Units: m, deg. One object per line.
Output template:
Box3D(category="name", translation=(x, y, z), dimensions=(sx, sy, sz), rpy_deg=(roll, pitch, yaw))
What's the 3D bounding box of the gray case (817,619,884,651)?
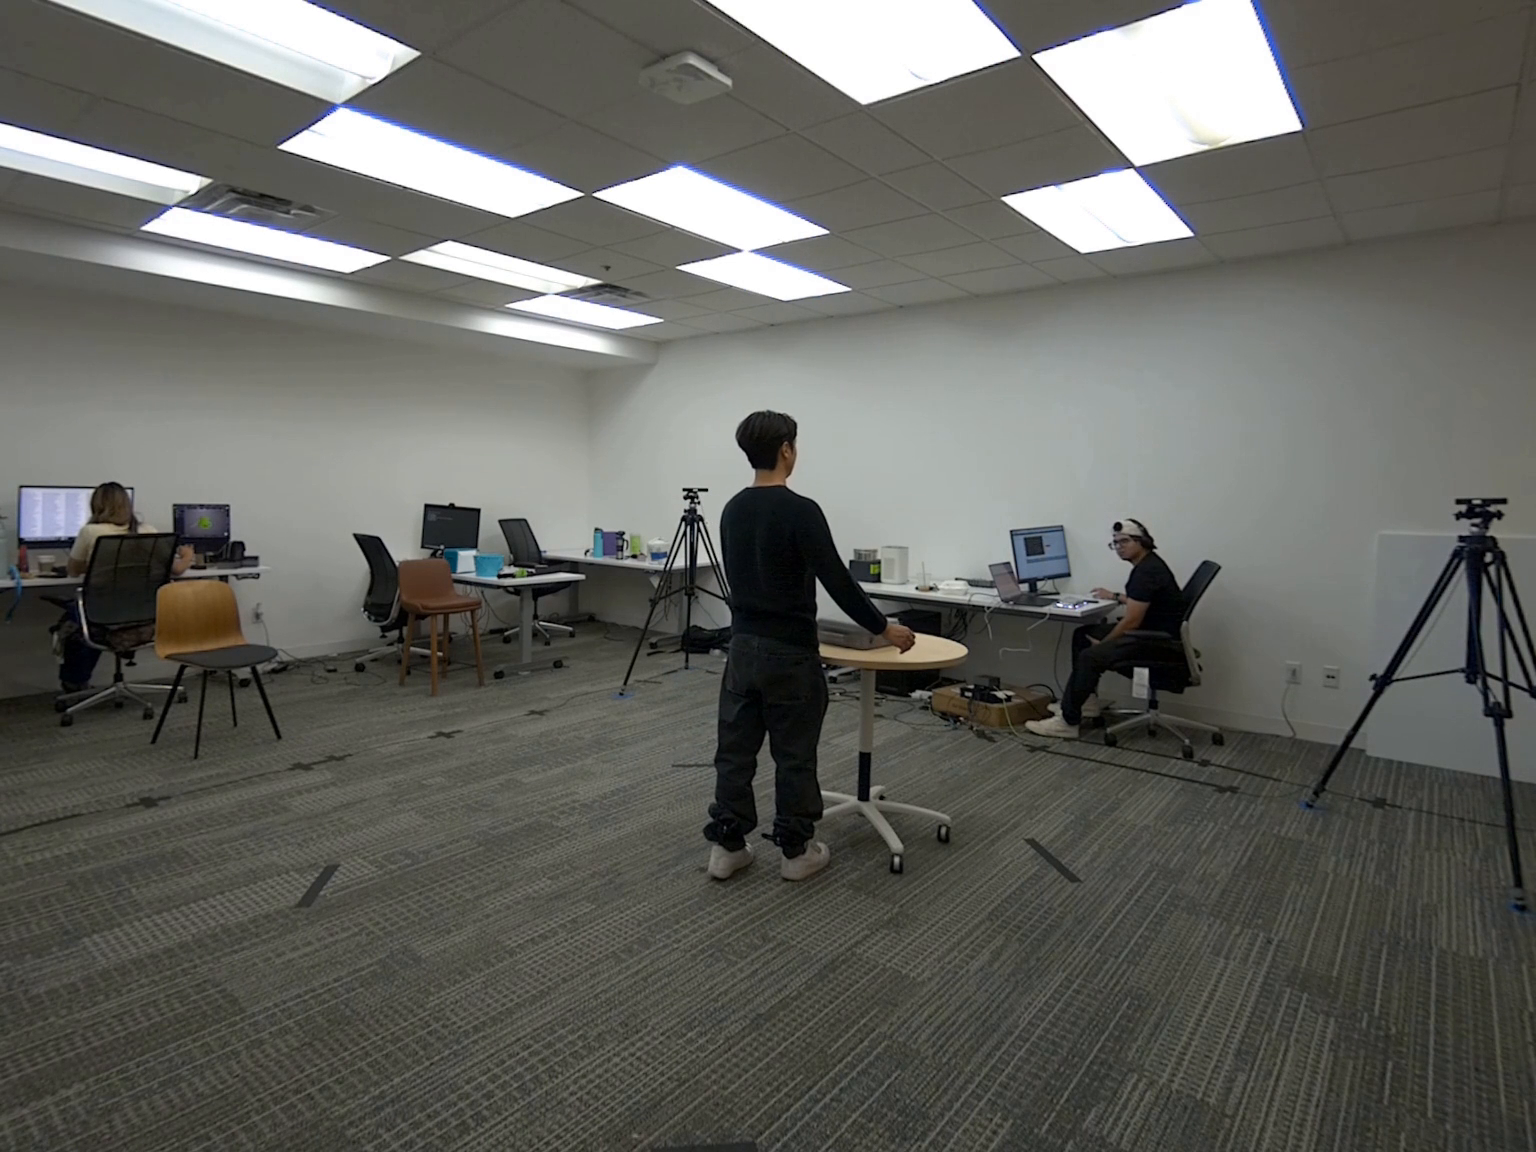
Box3D(category="gray case", translation=(0.352, 0.215, 3.421), dimensions=(0.266, 0.104, 0.253), rpy_deg=(7, 8, 42))
